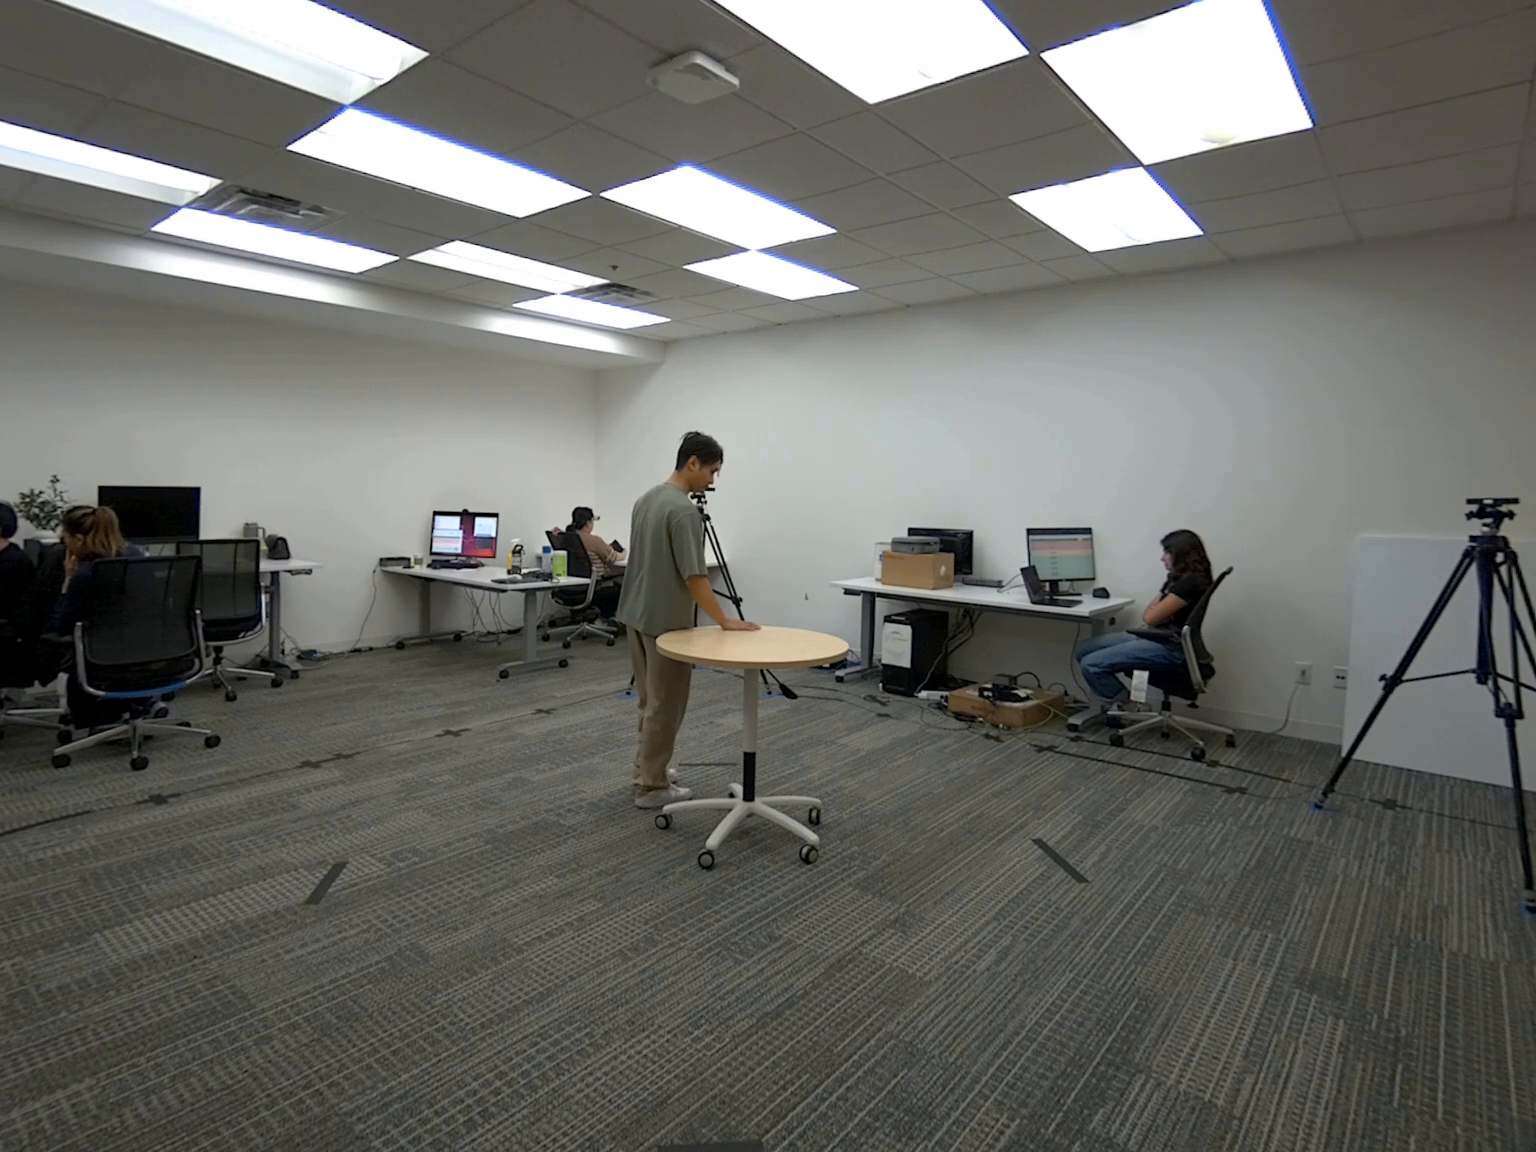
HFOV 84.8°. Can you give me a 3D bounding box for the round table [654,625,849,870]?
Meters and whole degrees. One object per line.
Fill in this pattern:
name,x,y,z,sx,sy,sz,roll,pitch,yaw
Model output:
round table,-0.080,0.651,3.410,0.763,0.791,0.768,1,5,-2
